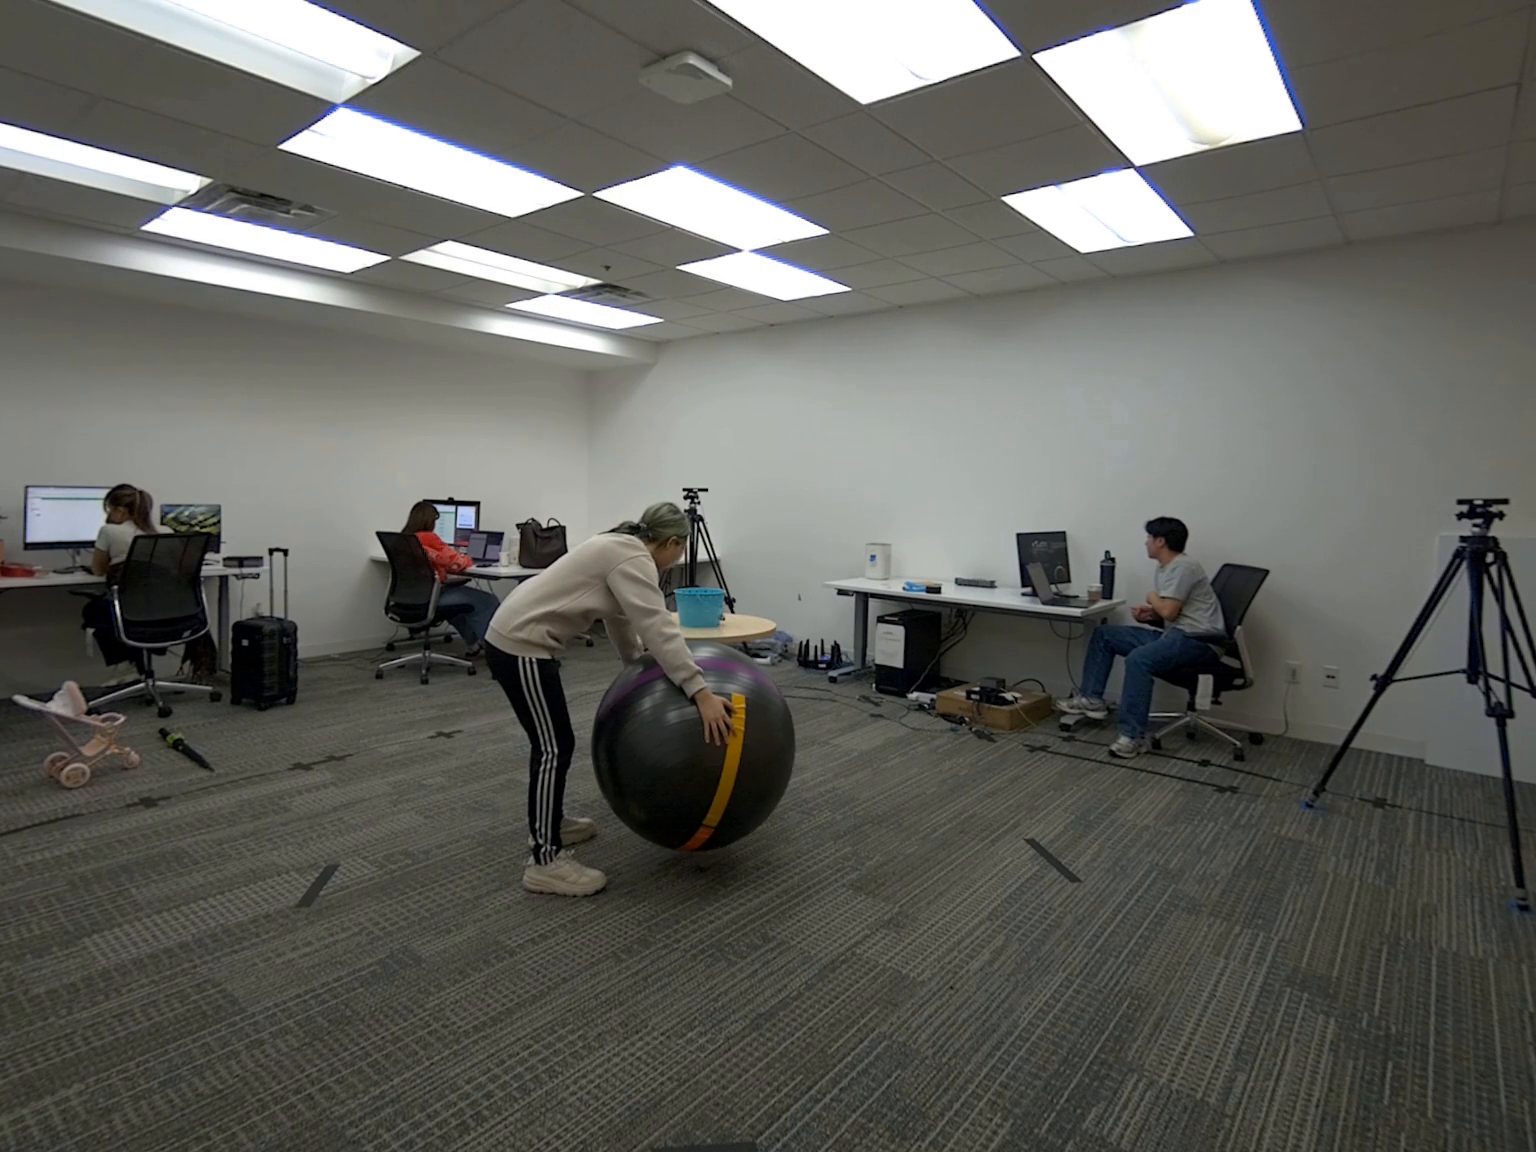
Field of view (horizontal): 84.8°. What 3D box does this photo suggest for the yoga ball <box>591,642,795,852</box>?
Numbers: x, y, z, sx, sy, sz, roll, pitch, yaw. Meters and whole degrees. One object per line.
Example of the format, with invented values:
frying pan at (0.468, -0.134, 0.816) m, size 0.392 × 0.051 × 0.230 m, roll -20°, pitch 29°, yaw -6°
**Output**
yoga ball at (-0.278, 0.626, 3.166) m, size 0.757 × 0.756 × 0.761 m, roll 1°, pitch 4°, yaw -2°
